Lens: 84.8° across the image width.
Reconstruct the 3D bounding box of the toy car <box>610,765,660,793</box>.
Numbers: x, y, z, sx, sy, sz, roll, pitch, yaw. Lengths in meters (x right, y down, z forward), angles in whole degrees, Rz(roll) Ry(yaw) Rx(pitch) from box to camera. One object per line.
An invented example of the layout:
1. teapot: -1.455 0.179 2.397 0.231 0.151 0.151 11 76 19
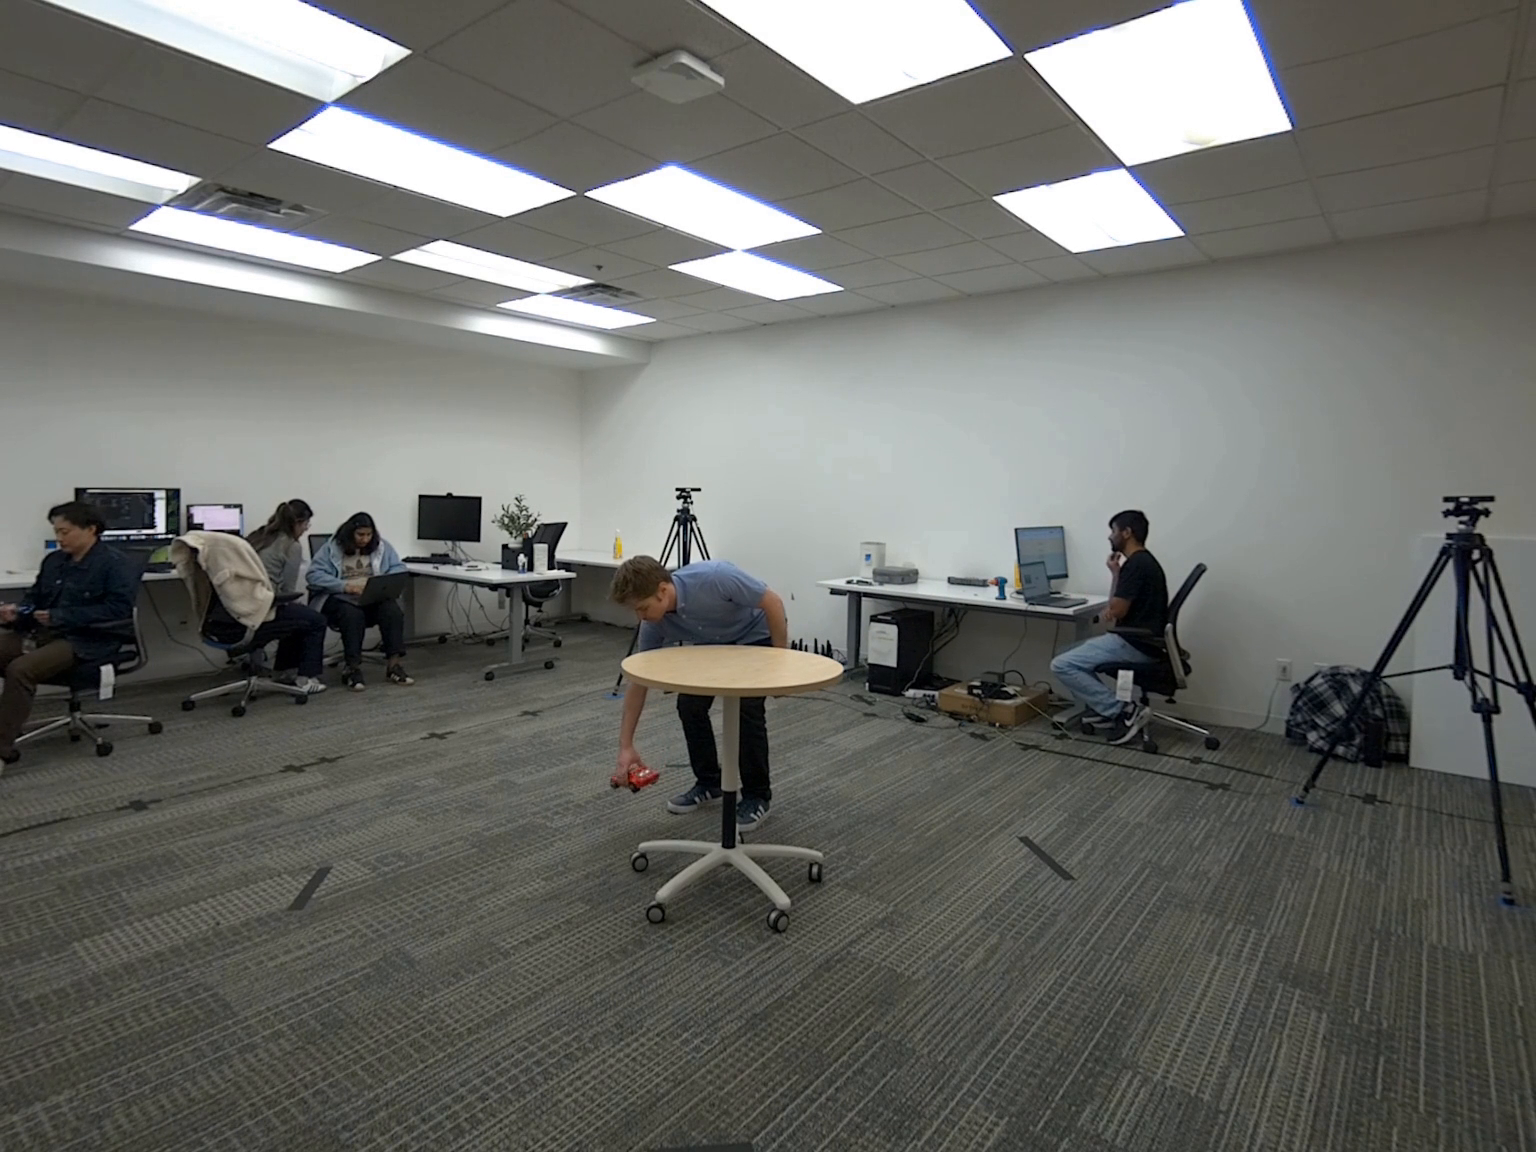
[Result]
1. toy car: -0.553 0.829 3.458 0.127 0.084 0.257 -17 -9 -38
